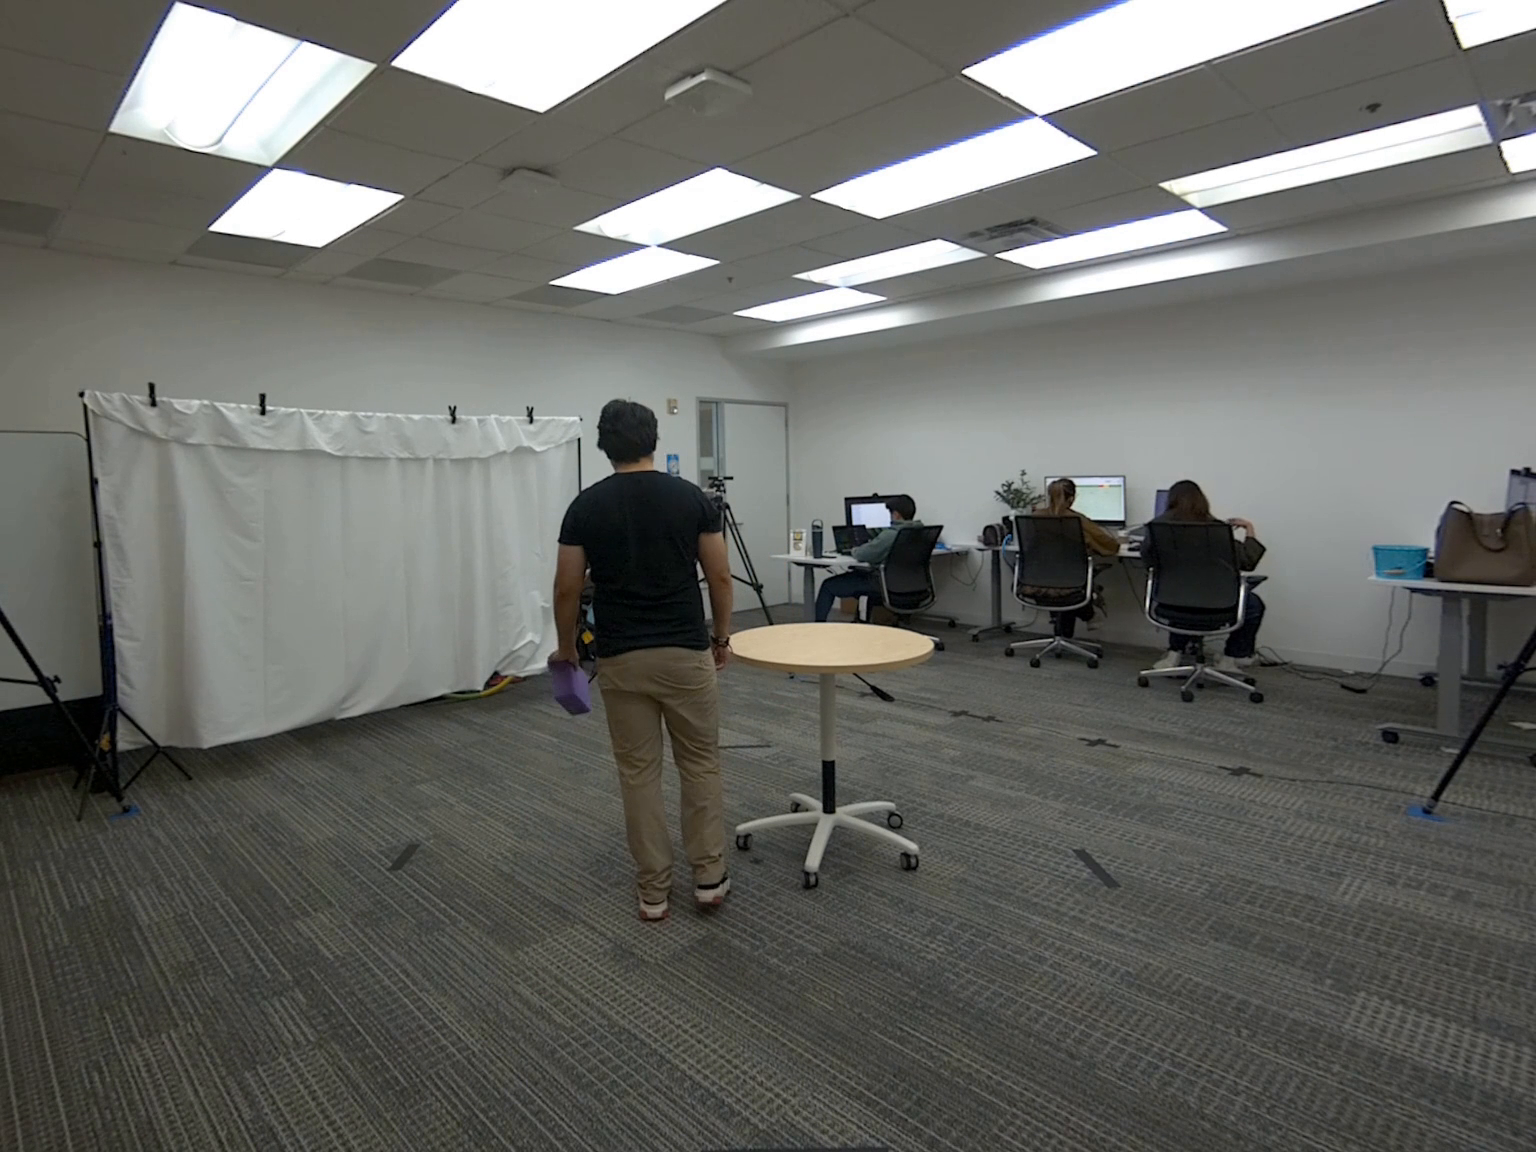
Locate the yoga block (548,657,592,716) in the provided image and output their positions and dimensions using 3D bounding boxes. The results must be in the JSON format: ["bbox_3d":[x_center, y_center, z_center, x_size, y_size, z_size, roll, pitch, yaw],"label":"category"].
[{"bbox_3d":[-0.694,0.382,3.023,0.076,0.153,0.223,-11,-25,-1],"label":"yoga block"}]
